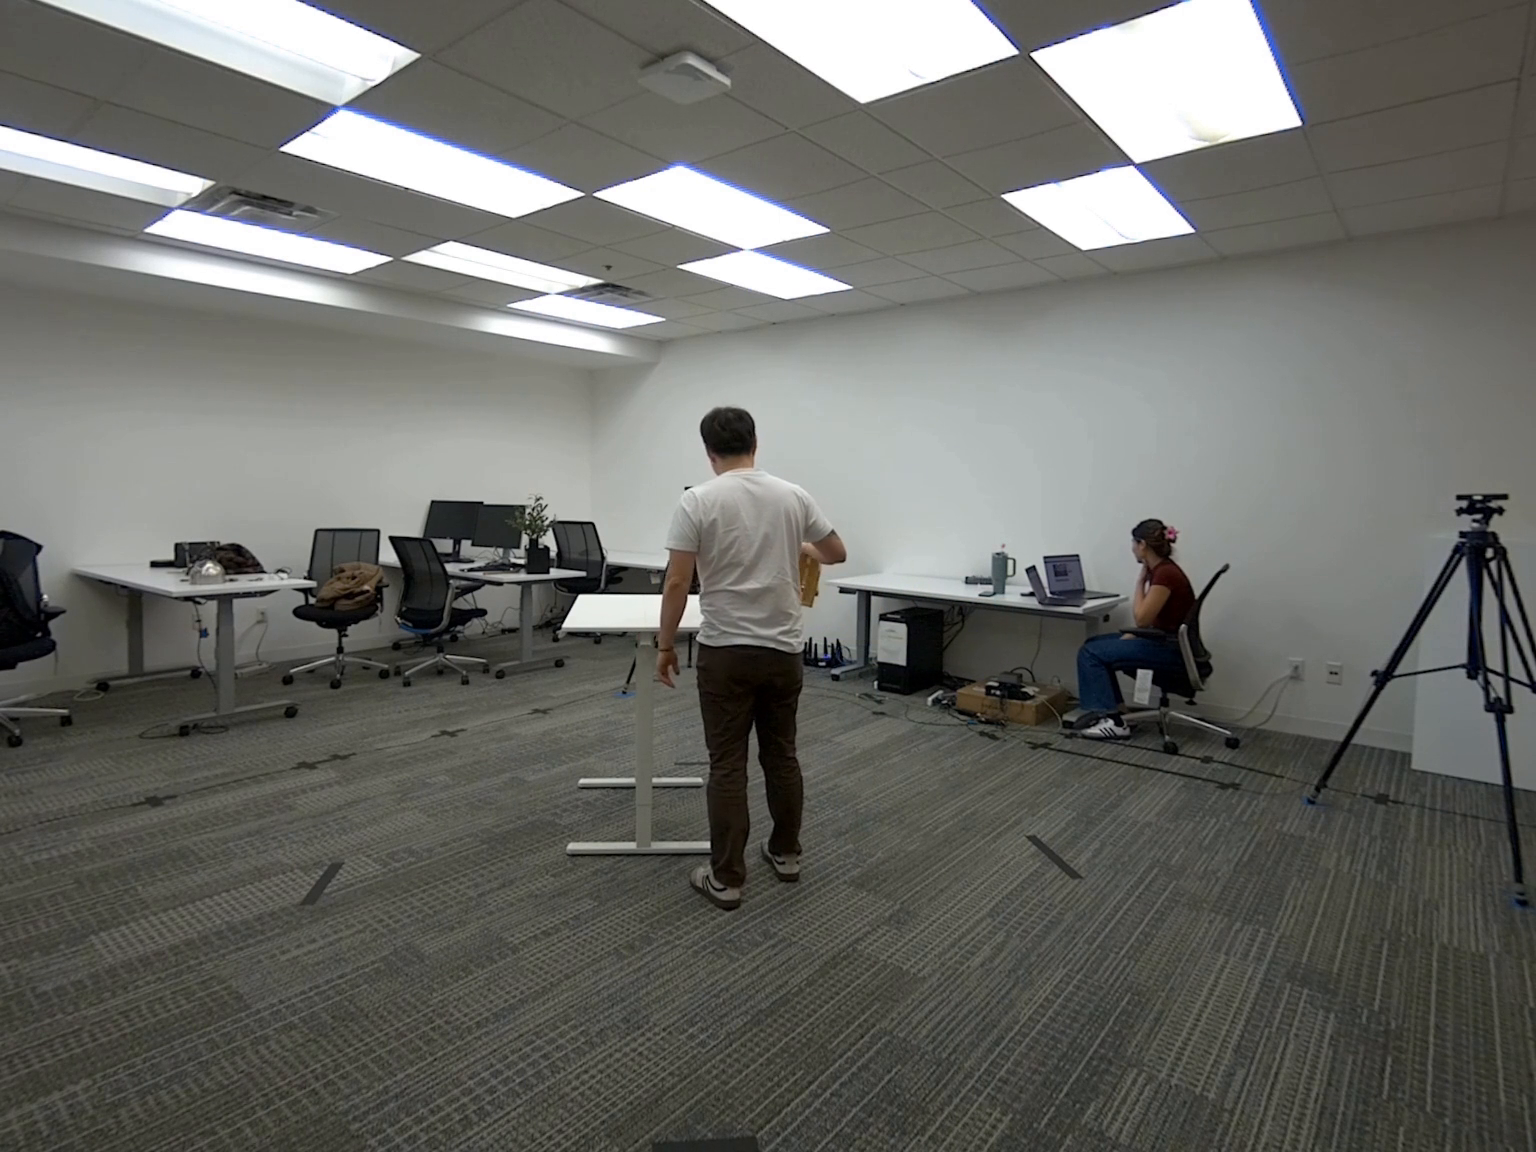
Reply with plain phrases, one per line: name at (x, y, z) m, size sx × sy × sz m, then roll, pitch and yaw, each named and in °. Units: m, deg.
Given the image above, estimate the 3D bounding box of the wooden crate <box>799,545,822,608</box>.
wooden crate at (0.043, -0.075, 3.373) m, size 0.323 × 0.301 × 0.276 m, roll 11°, pitch 6°, yaw -5°
